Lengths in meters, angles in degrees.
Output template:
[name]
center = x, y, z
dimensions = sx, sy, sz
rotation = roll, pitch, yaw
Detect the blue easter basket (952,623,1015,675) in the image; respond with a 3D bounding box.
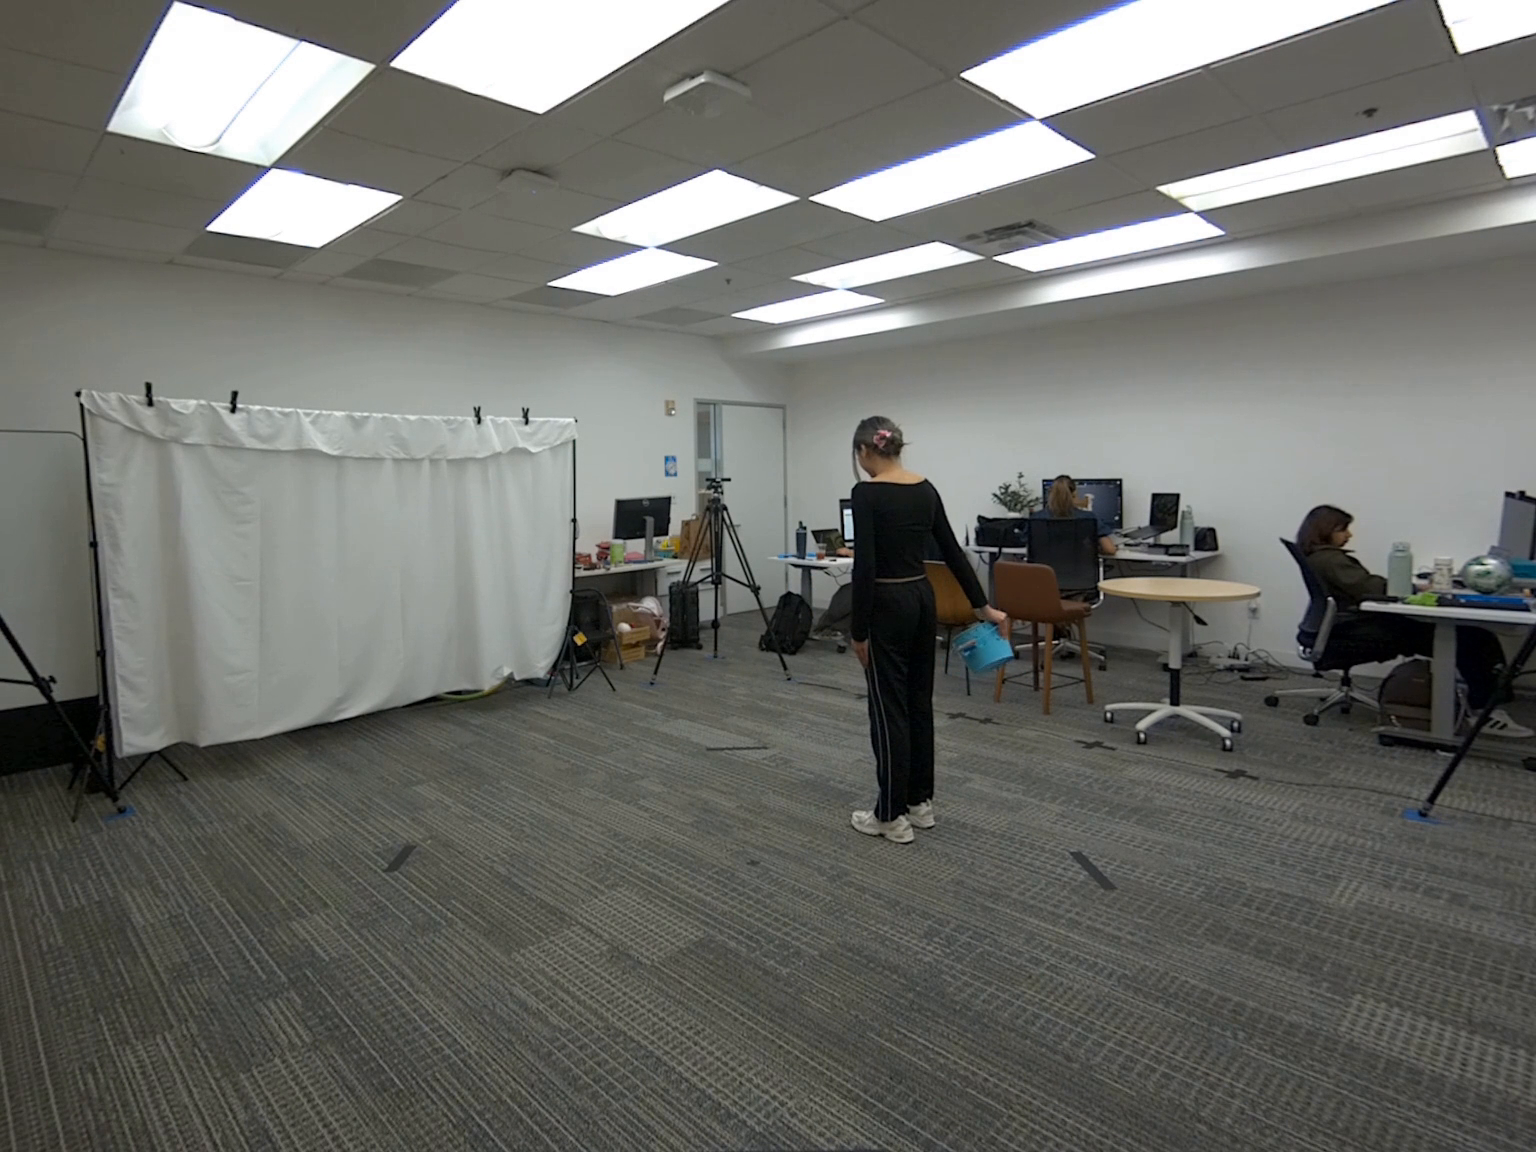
[blue easter basket]
center = 0.870, 0.298, 3.493
dimensions = 0.242, 0.160, 0.238
rotation = -18, -23, -10
